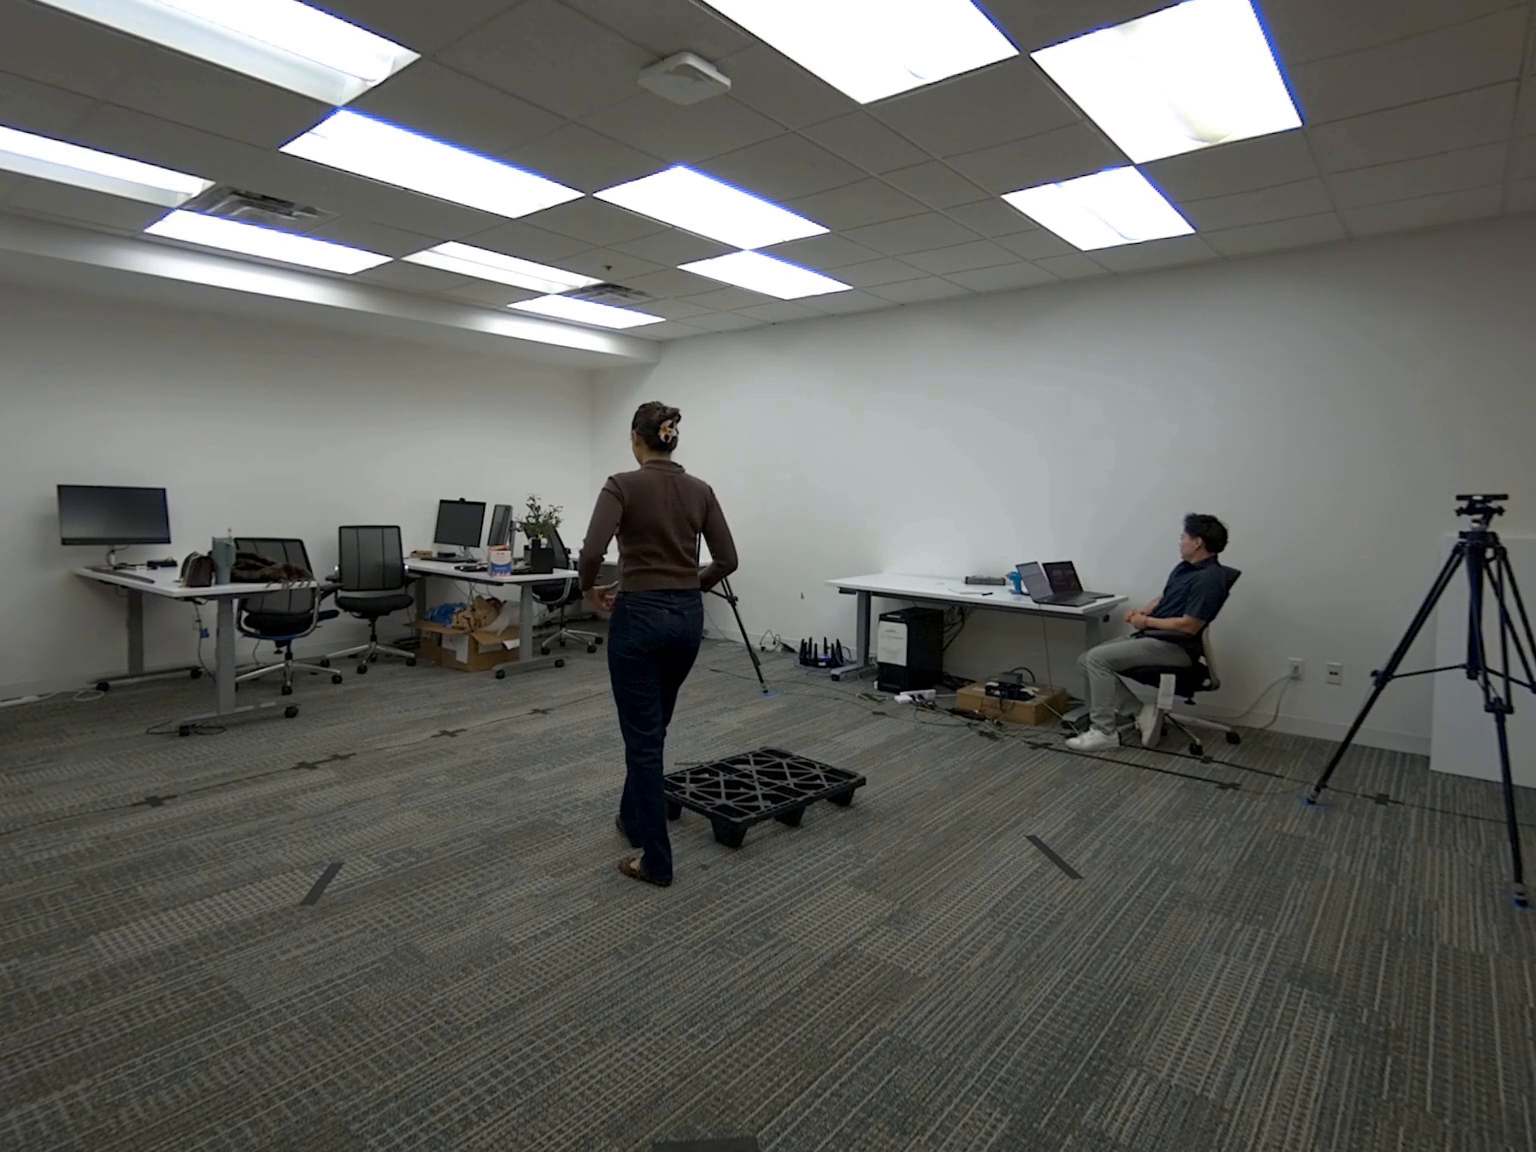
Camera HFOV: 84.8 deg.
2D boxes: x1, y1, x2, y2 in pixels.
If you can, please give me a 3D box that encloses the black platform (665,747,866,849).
[{"bbox_3d":[-0.055,0.943,3.692,0.781,0.143,0.626,-5,9,-44],"label":"black platform"}]
